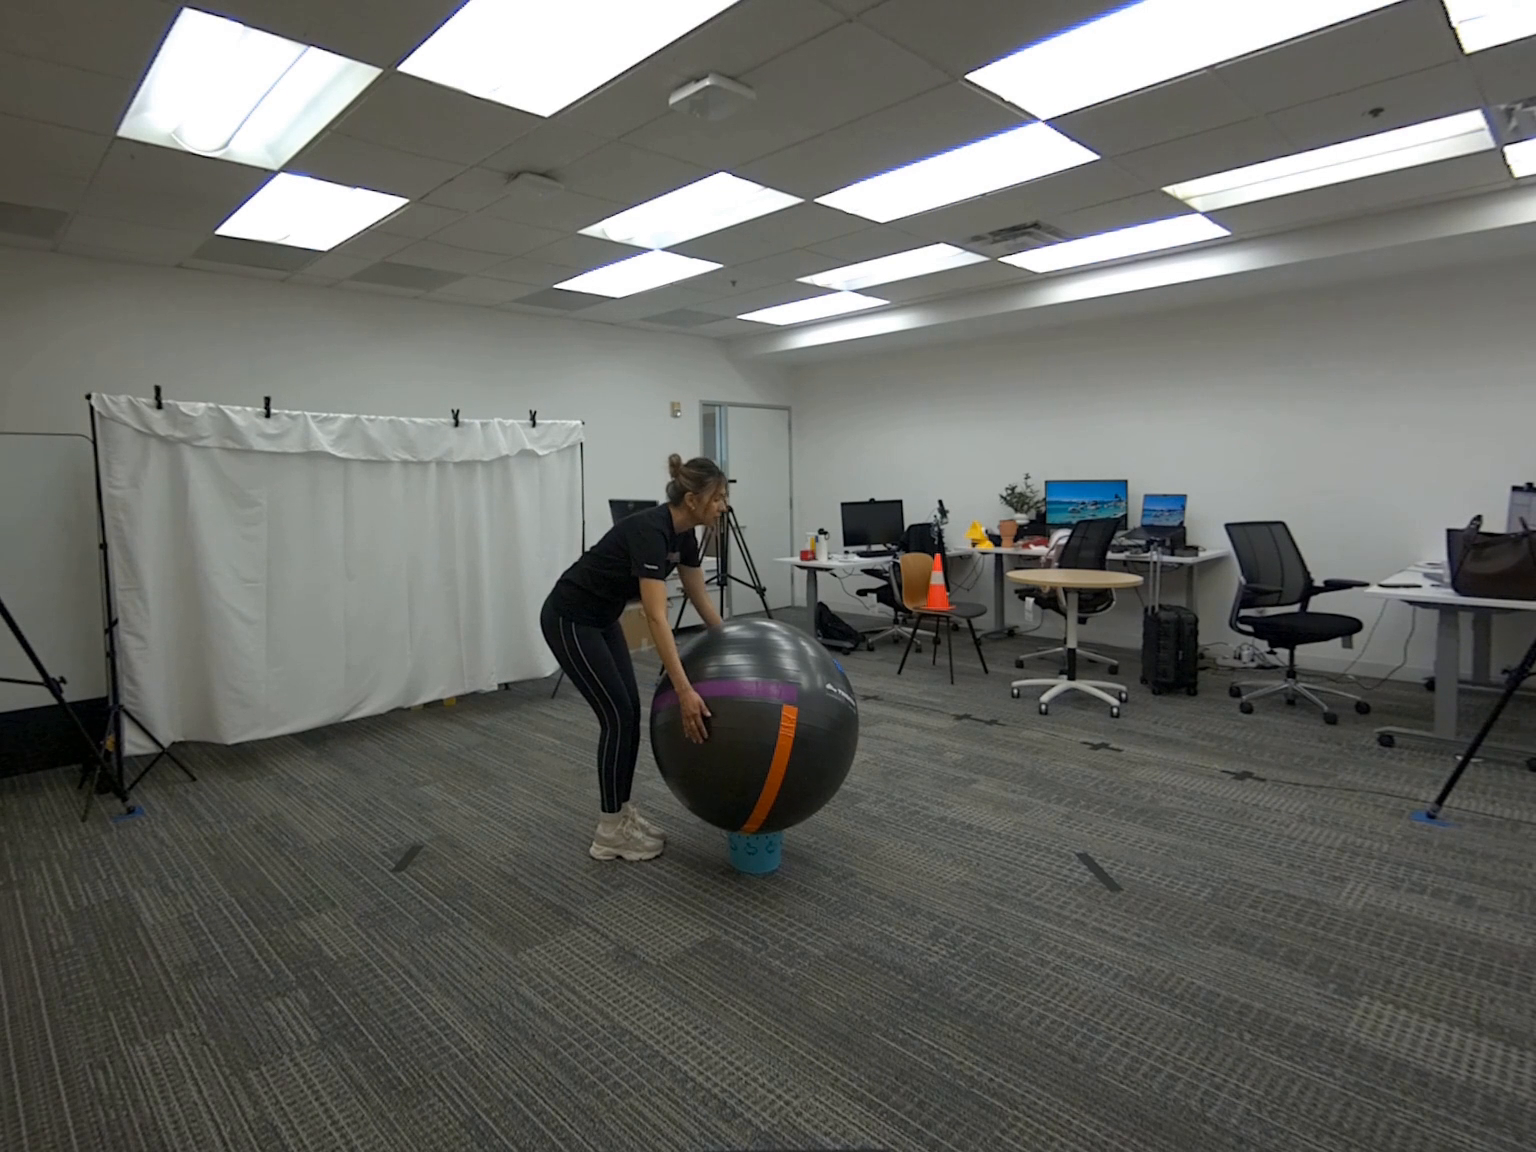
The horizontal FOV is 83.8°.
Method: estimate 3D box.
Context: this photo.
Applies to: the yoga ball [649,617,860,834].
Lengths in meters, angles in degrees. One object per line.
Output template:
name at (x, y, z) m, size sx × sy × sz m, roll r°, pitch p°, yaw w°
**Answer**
yoga ball at (-0.054, 0.536, 3.101) m, size 0.757 × 0.755 × 0.762 m, roll -1°, pitch 5°, yaw -2°
